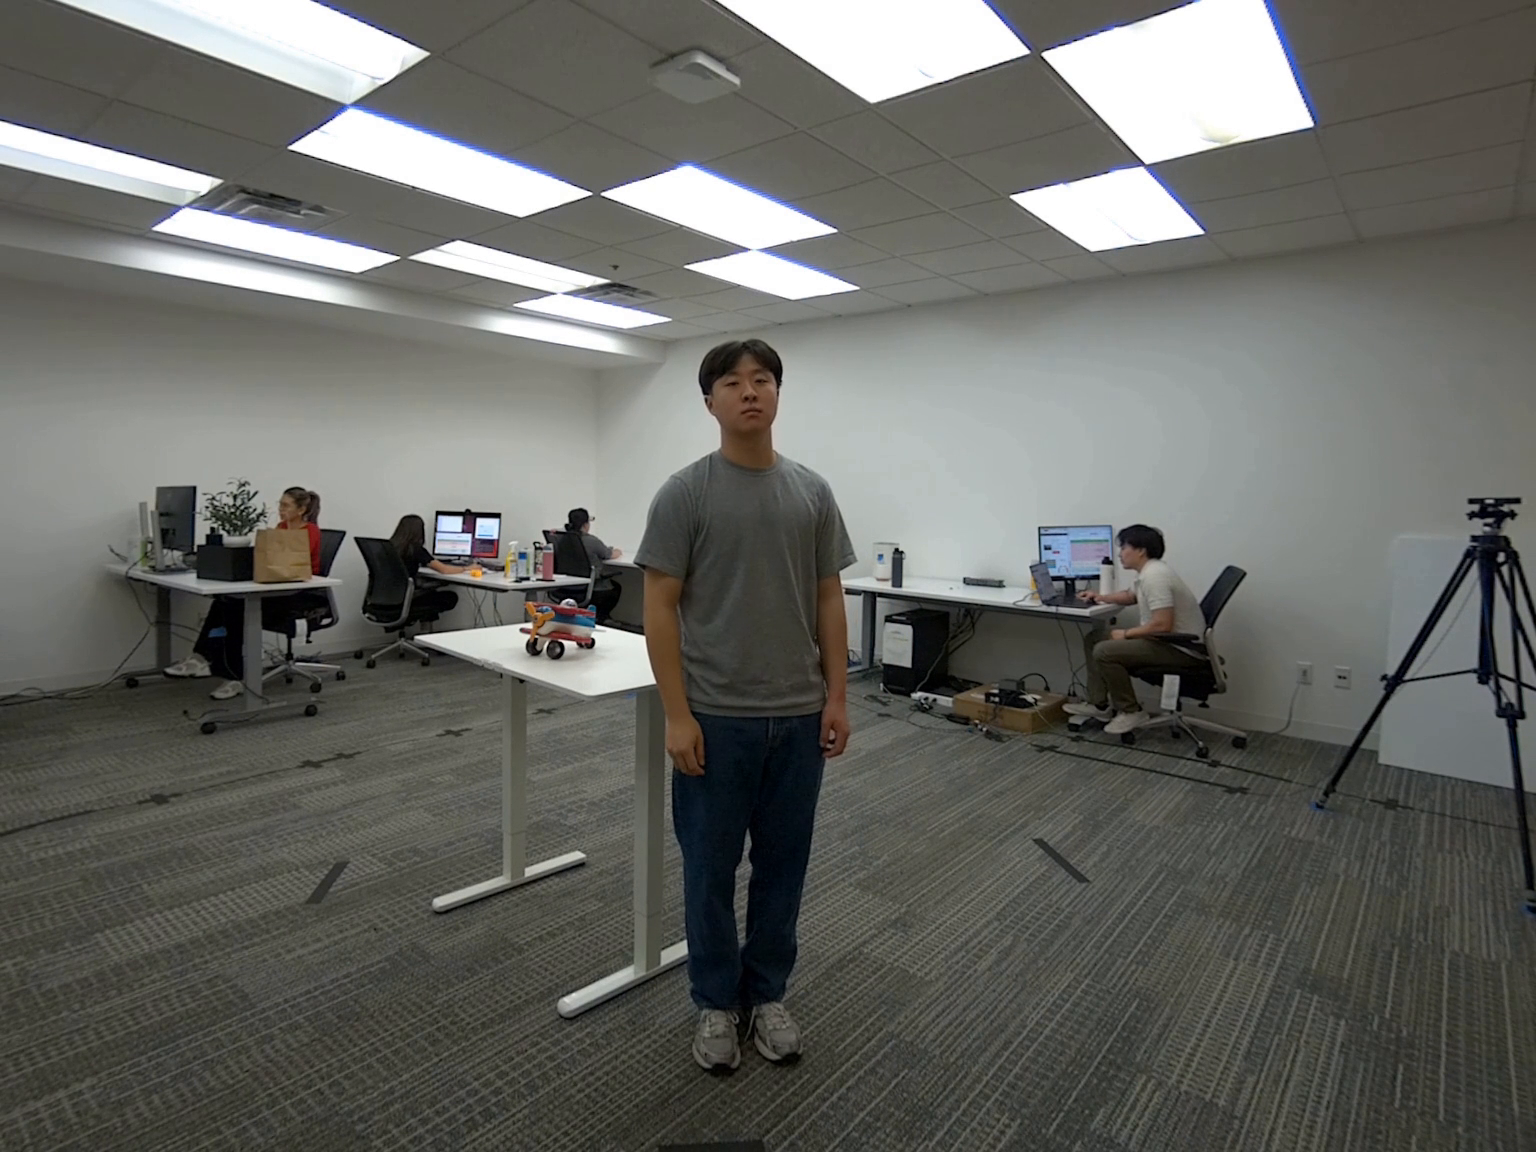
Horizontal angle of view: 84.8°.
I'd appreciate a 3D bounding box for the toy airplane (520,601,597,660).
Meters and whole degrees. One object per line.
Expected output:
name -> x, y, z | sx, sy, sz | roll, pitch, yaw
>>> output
toy airplane -> -0.641, 0.153, 2.580 | 0.252, 0.155, 0.259 | 2, 7, 4
